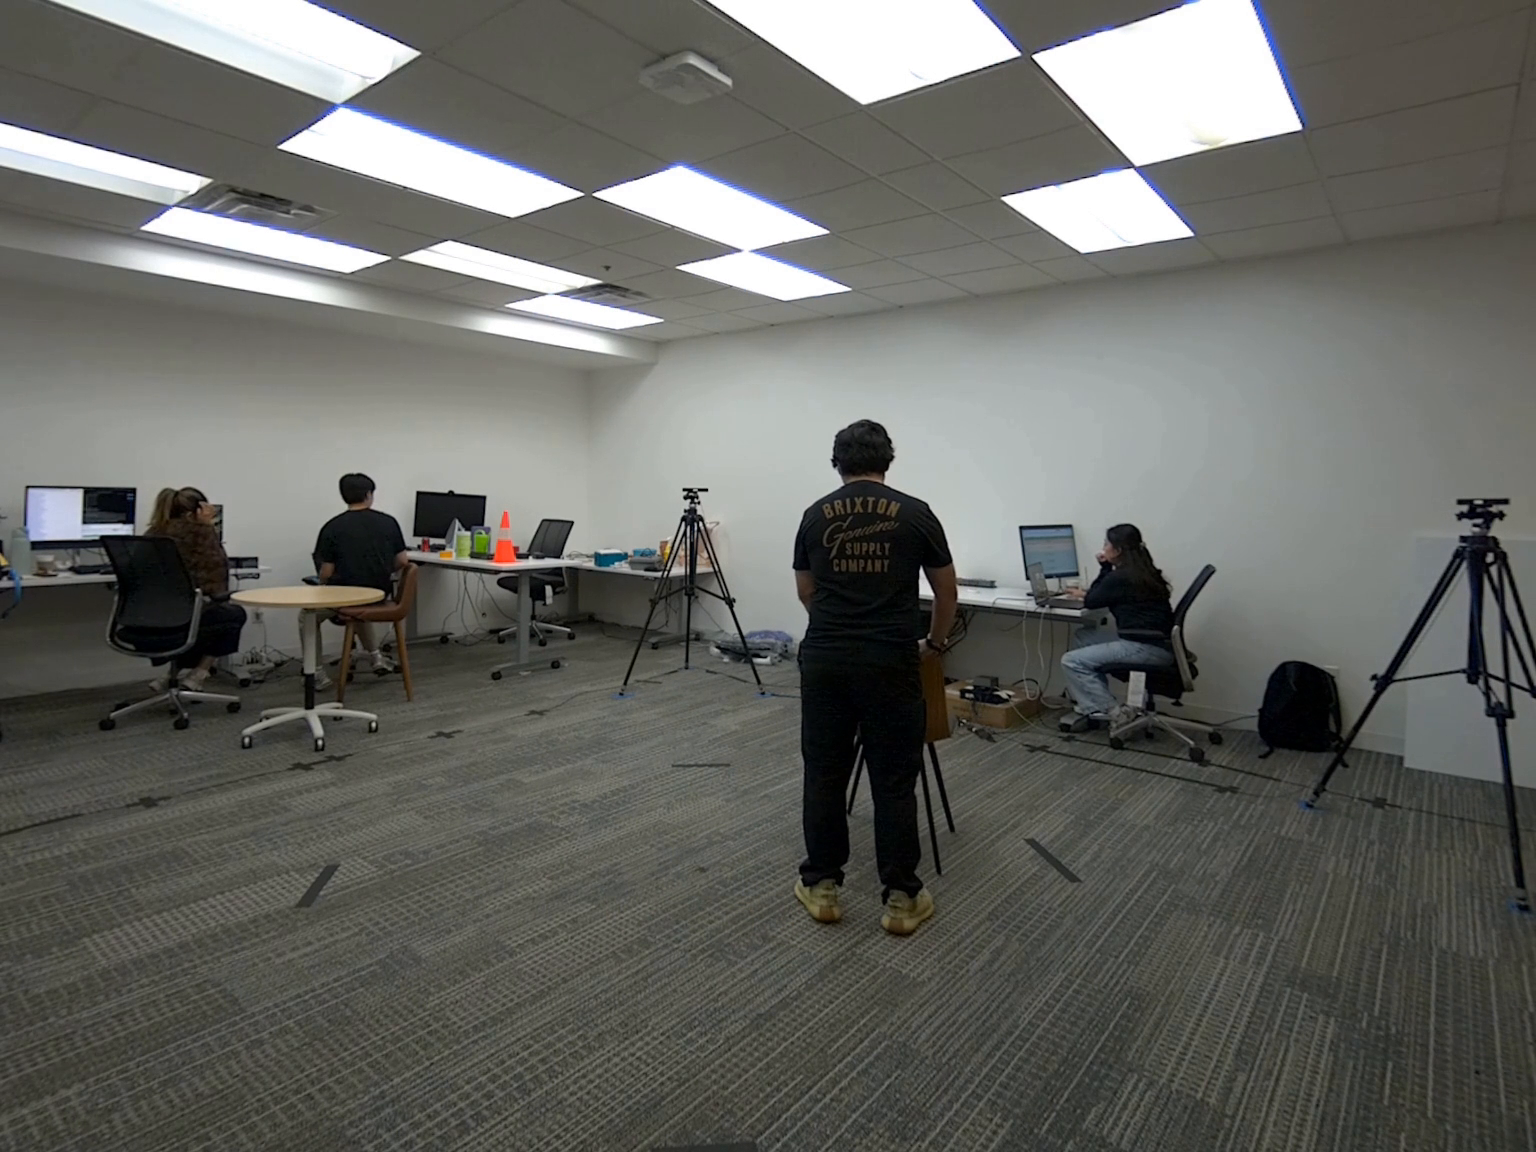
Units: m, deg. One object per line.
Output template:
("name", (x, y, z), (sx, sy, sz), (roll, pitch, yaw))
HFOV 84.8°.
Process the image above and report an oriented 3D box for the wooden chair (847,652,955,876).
("wooden chair", (0.482, 0.626, 3.374), (0.489, 0.872, 0.515), (2, 7, 20))
